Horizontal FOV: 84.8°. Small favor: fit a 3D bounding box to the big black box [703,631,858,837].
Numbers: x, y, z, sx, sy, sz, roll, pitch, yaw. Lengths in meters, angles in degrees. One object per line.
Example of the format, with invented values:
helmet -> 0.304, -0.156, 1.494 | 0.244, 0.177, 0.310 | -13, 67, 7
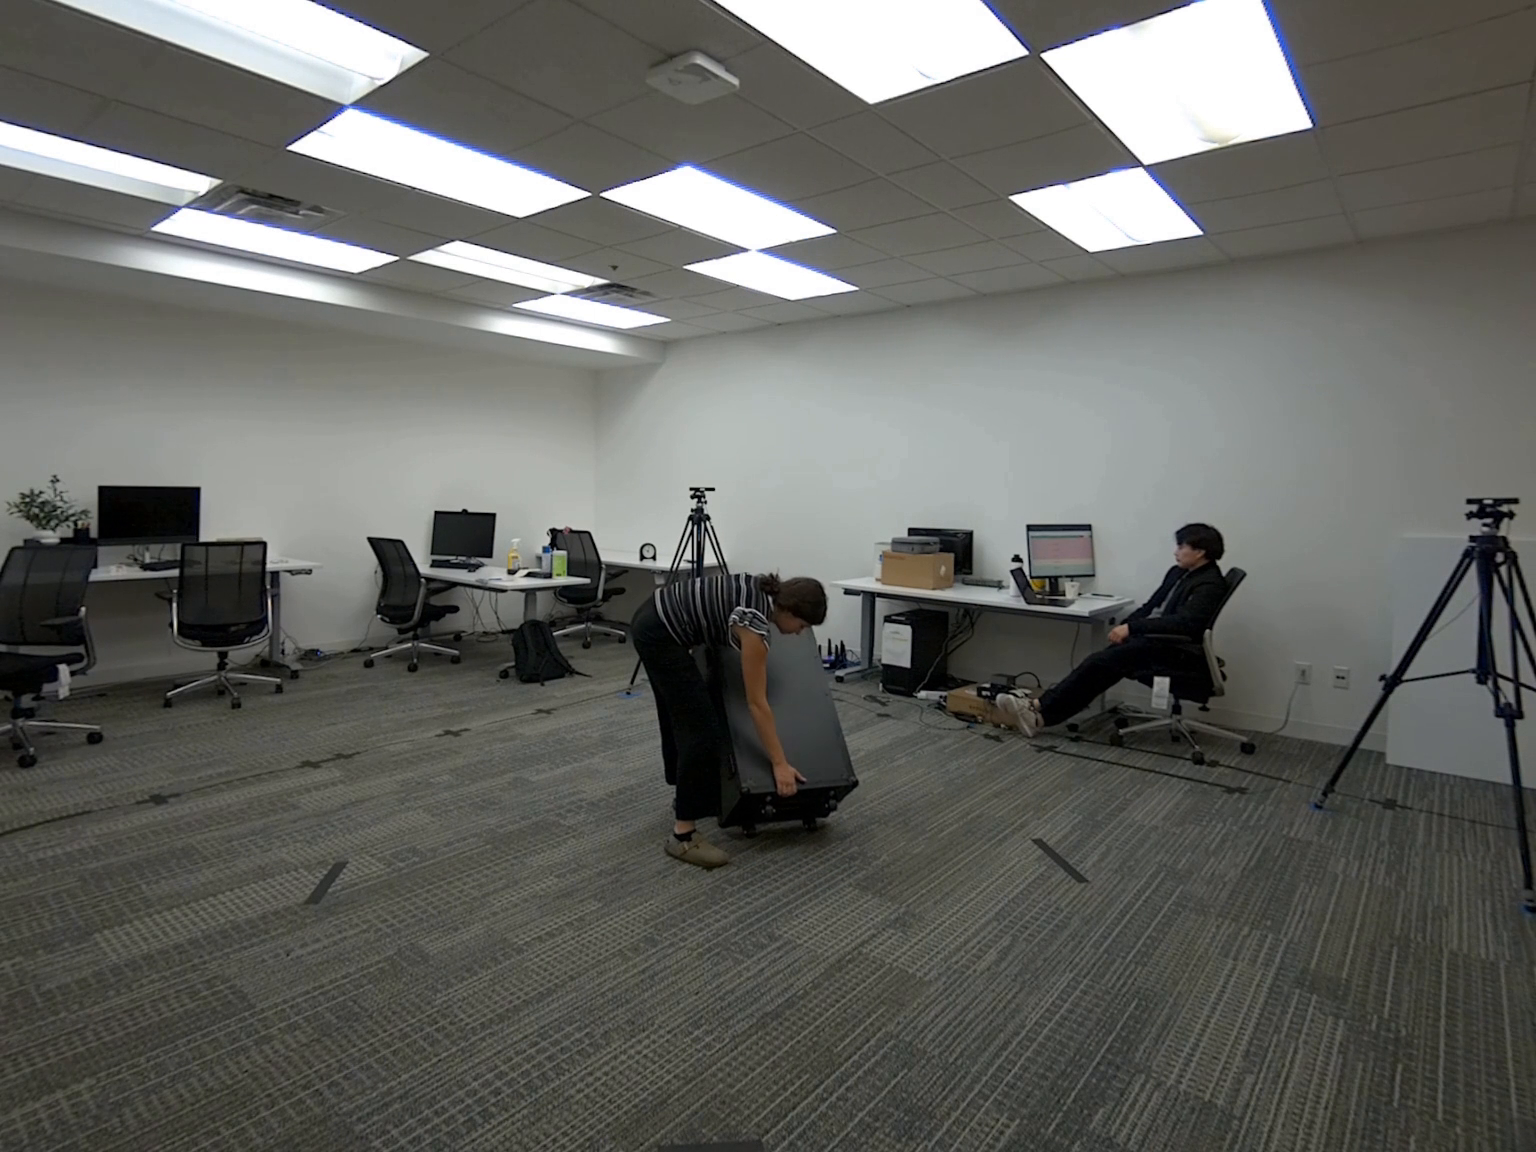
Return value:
big black box -> -0.008, 0.626, 3.601 | 0.512, 0.891, 0.390 | -2, -37, -19
